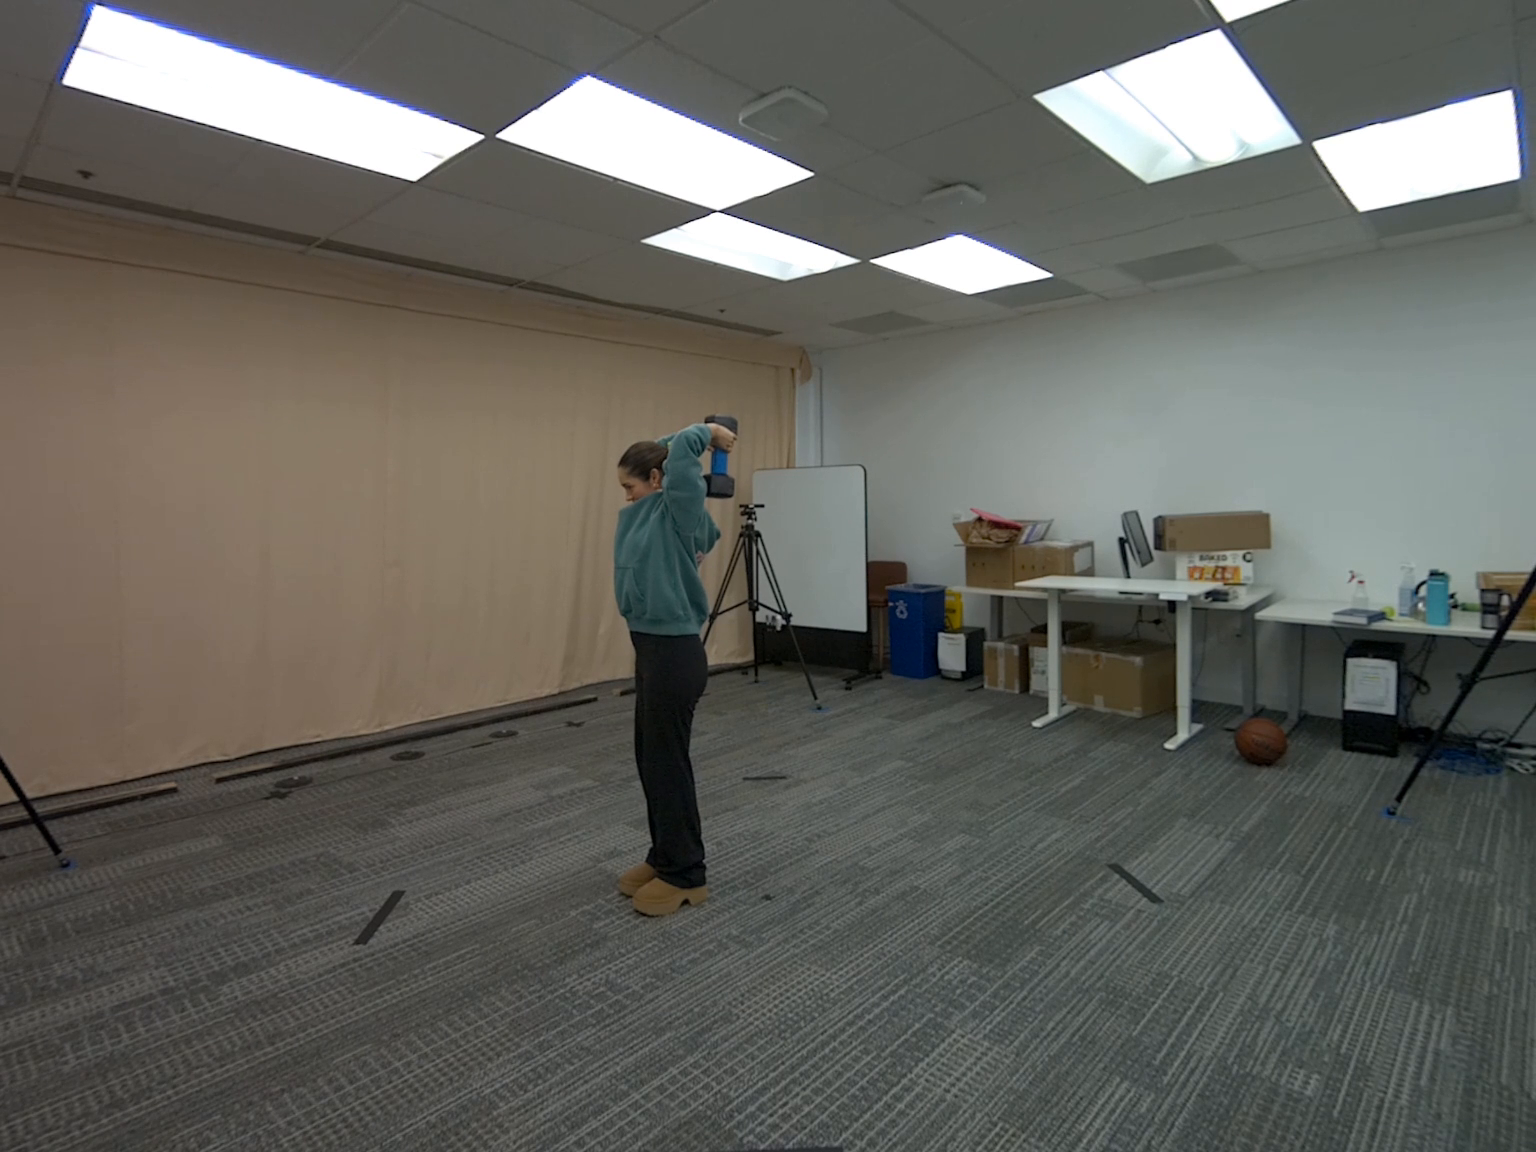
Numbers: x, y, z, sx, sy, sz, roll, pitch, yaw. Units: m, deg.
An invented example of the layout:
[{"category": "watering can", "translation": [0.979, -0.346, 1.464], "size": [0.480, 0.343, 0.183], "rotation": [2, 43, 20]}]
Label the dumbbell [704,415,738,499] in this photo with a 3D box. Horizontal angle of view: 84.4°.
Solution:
[{"category": "dumbbell", "translation": [-0.177, -0.429, 3.020], "size": [0.122, 0.293, 0.109], "rotation": [3, 0, -7]}]
